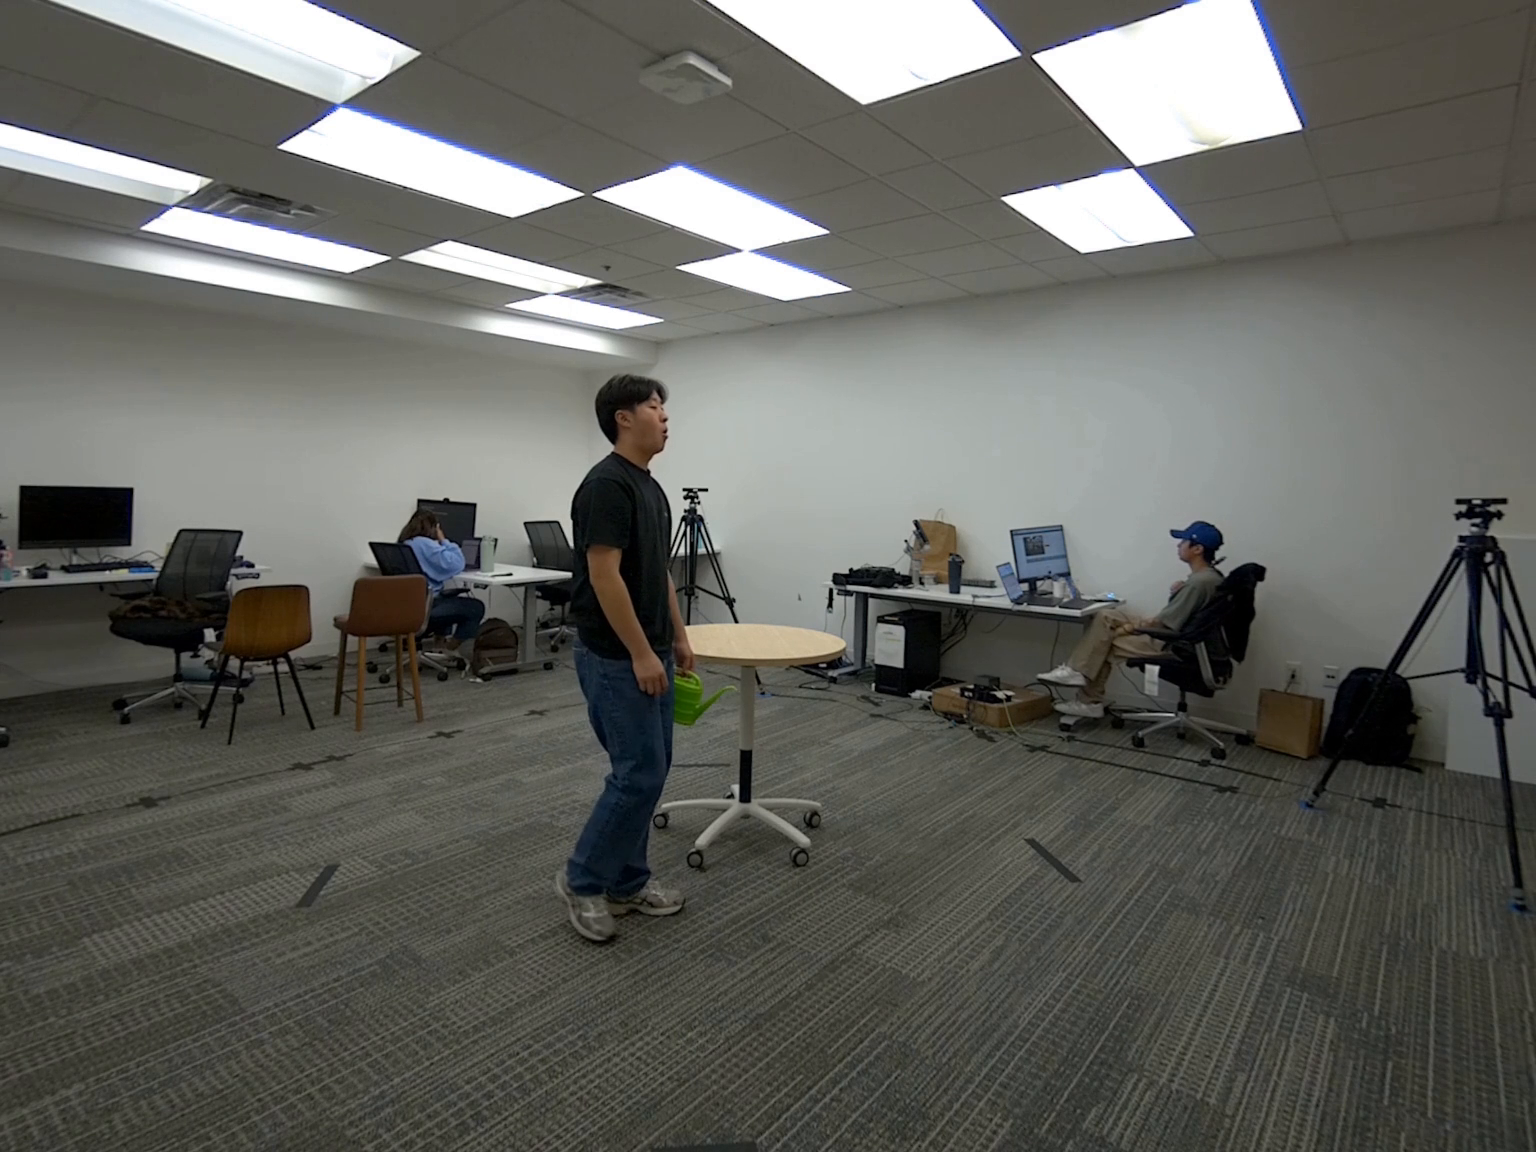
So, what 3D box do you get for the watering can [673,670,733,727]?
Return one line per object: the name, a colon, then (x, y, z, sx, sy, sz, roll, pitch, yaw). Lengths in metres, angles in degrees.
watering can: (-0.270, 0.419, 2.898, 0.289, 0.176, 0.095, 17, 7, 38)
